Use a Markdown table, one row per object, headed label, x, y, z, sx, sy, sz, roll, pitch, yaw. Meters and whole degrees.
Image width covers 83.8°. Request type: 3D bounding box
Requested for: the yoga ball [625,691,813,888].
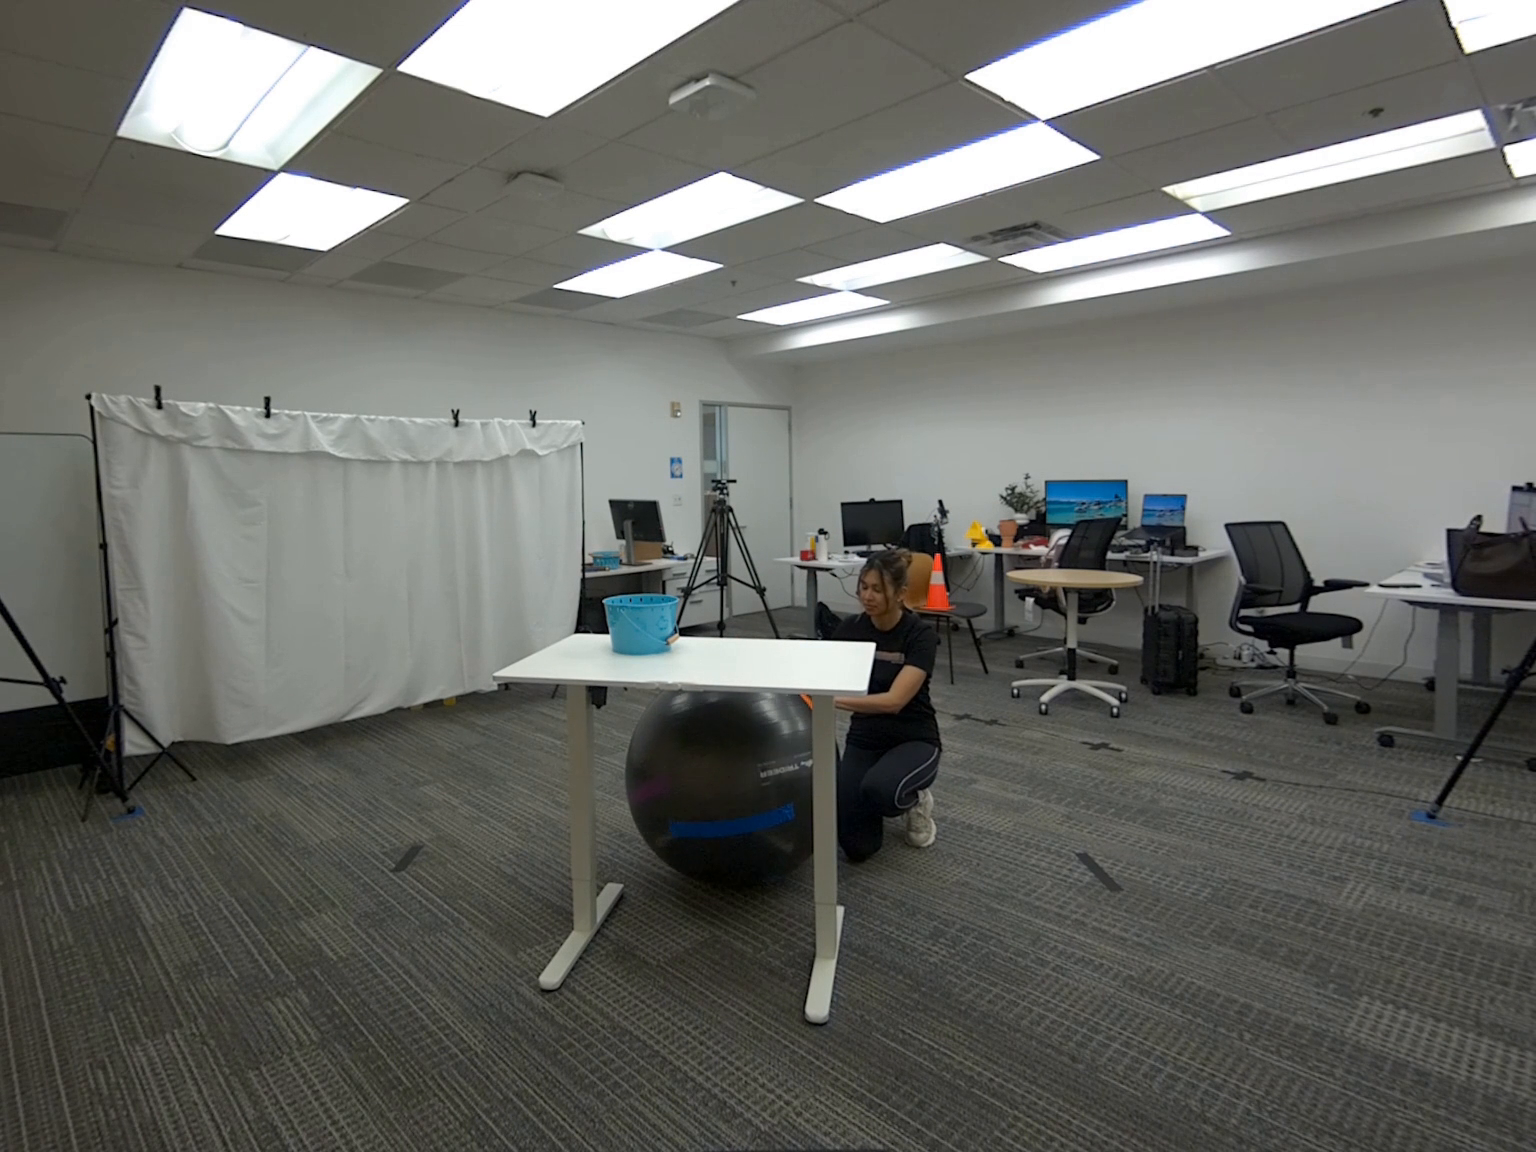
| label | x | y | z | sx | sy | sz | roll | pitch | yaw |
| --- | --- | --- | --- | --- | --- | --- | --- | --- | --- |
| yoga ball | -0.124 | 0.693 | 3.001 | 0.757 | 0.755 | 0.762 | -1 | 5 | -2 |
